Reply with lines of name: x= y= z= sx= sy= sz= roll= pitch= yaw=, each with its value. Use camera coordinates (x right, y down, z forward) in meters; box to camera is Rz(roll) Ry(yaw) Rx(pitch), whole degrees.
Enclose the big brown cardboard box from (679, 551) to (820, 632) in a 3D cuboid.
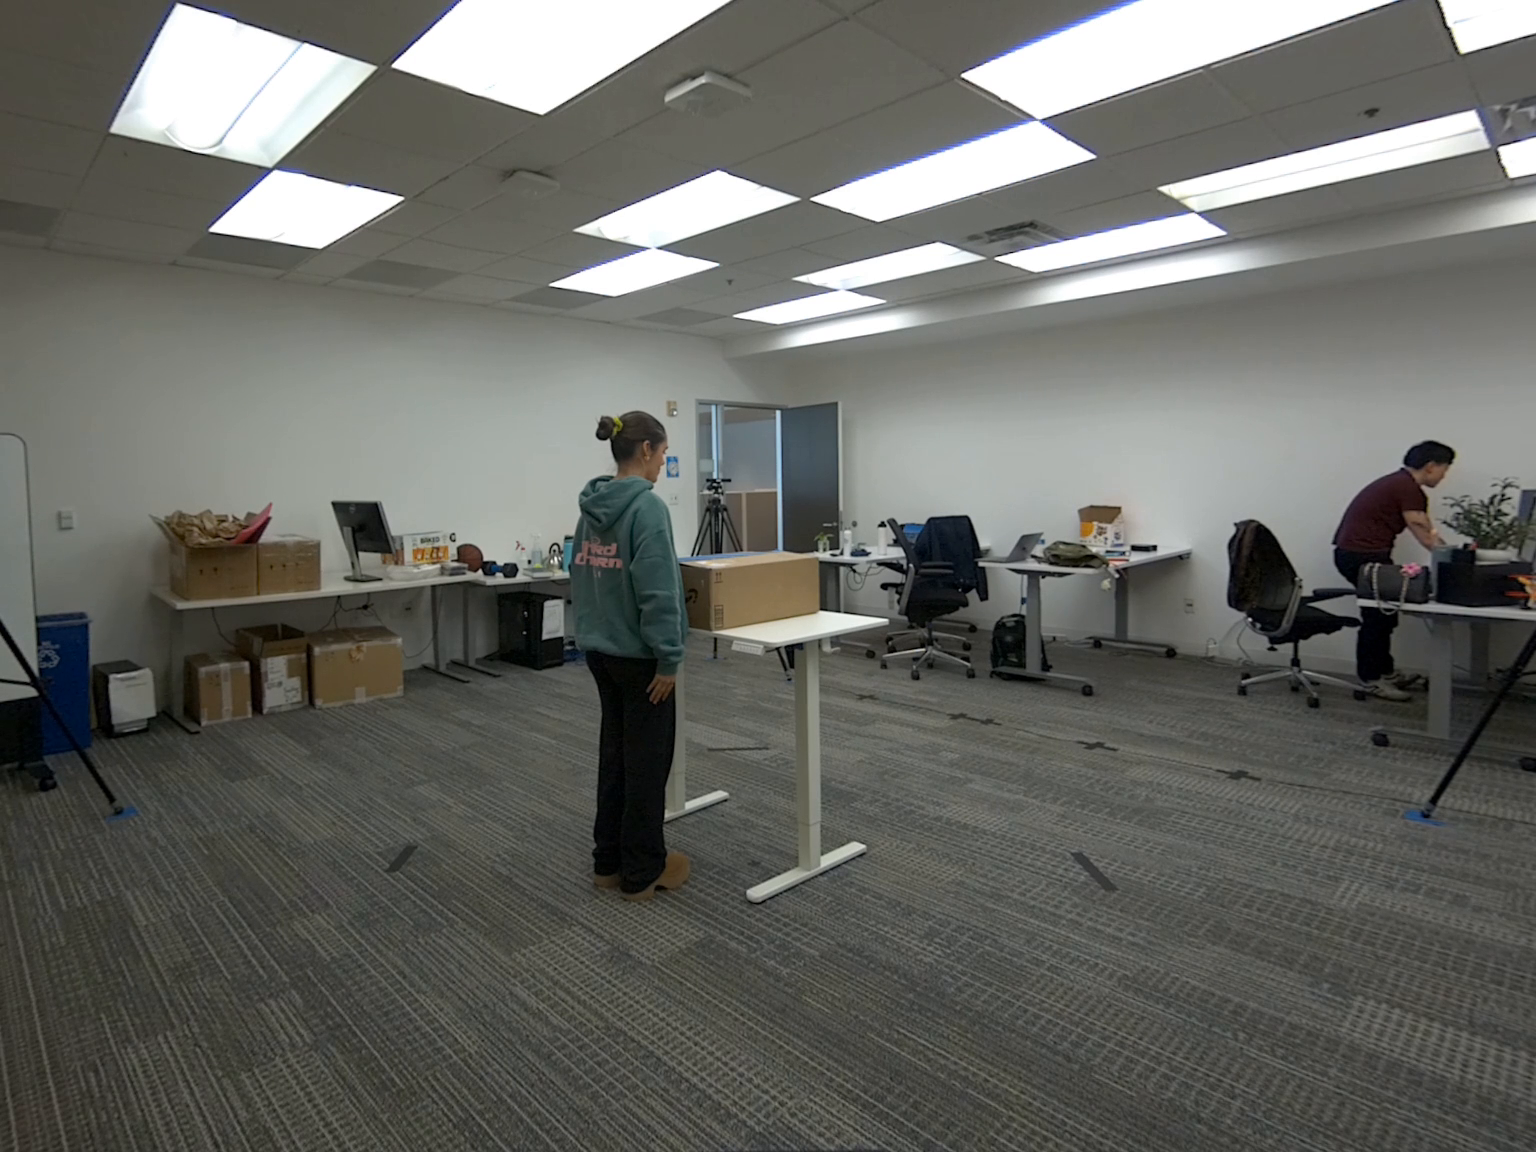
big brown cardboard box: x=-0.146 y=0.041 z=3.214 sx=0.430 sy=0.232 sz=0.573 roll=4 pitch=7 yaw=45
